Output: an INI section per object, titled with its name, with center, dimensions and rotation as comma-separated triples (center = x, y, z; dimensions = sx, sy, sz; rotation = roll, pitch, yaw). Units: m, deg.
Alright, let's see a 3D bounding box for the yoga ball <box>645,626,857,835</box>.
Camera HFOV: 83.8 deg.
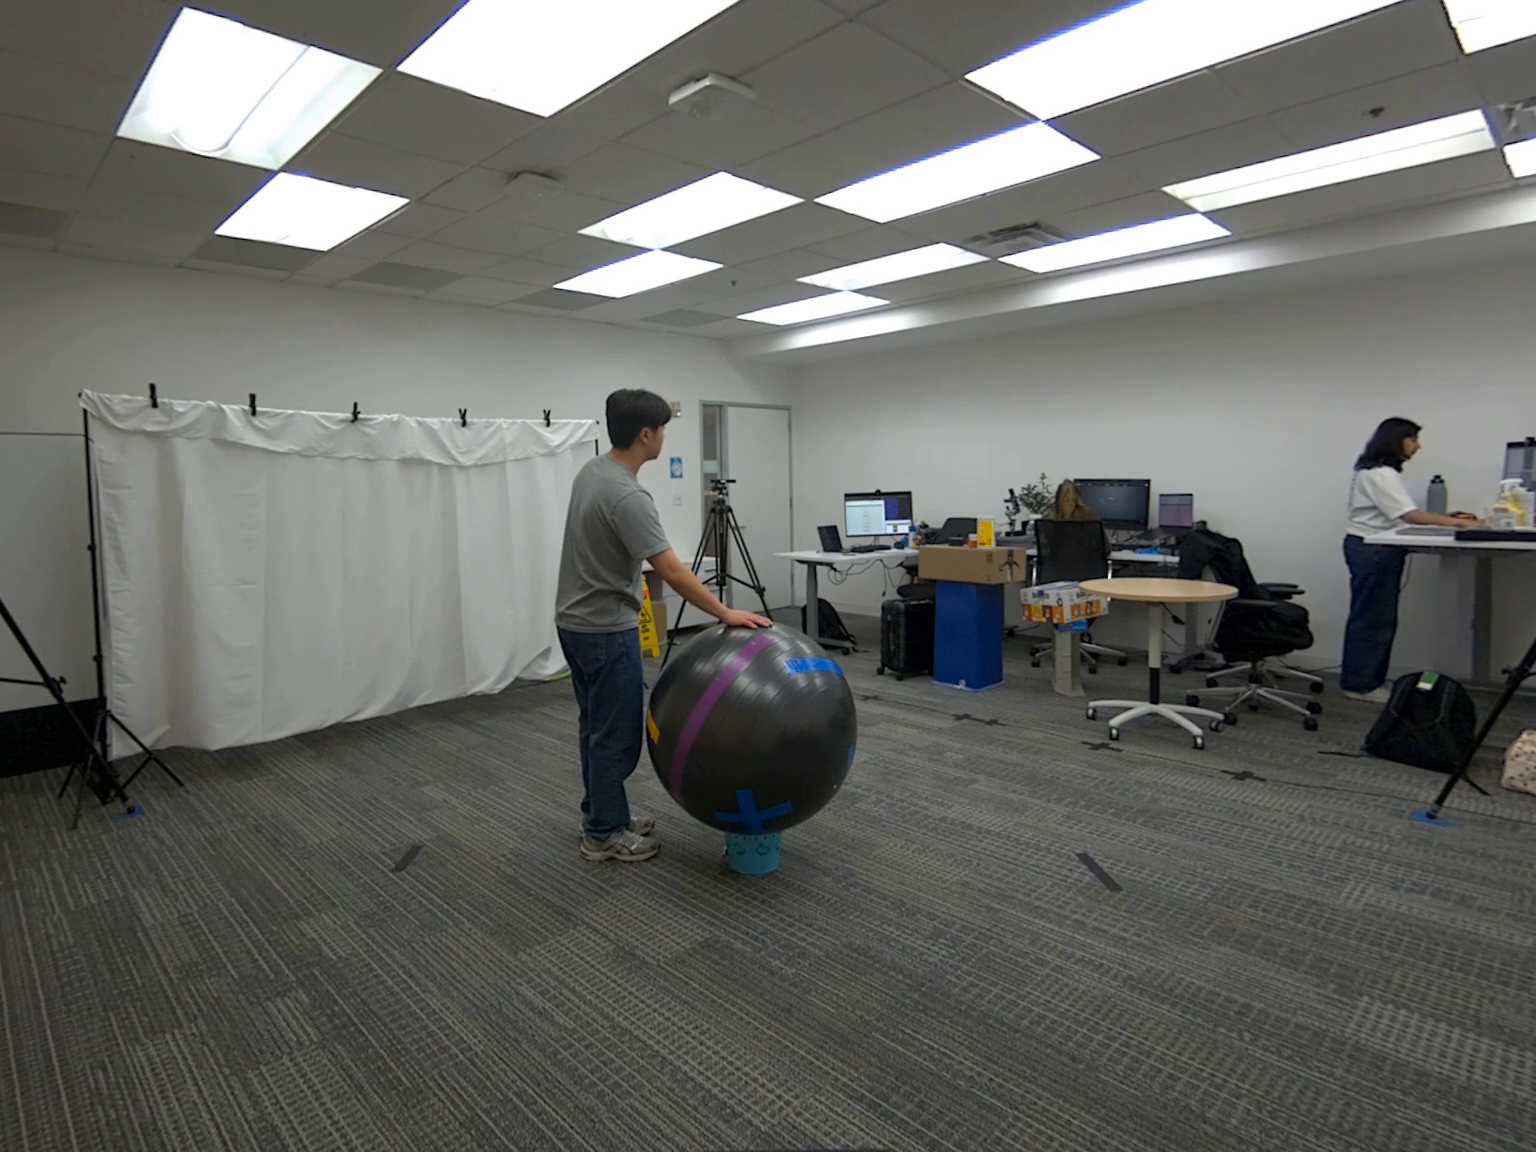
[yoga ball]
center = -0.059, 0.535, 3.085
dimensions = 0.757, 0.755, 0.762
rotation = -1, 5, -2
